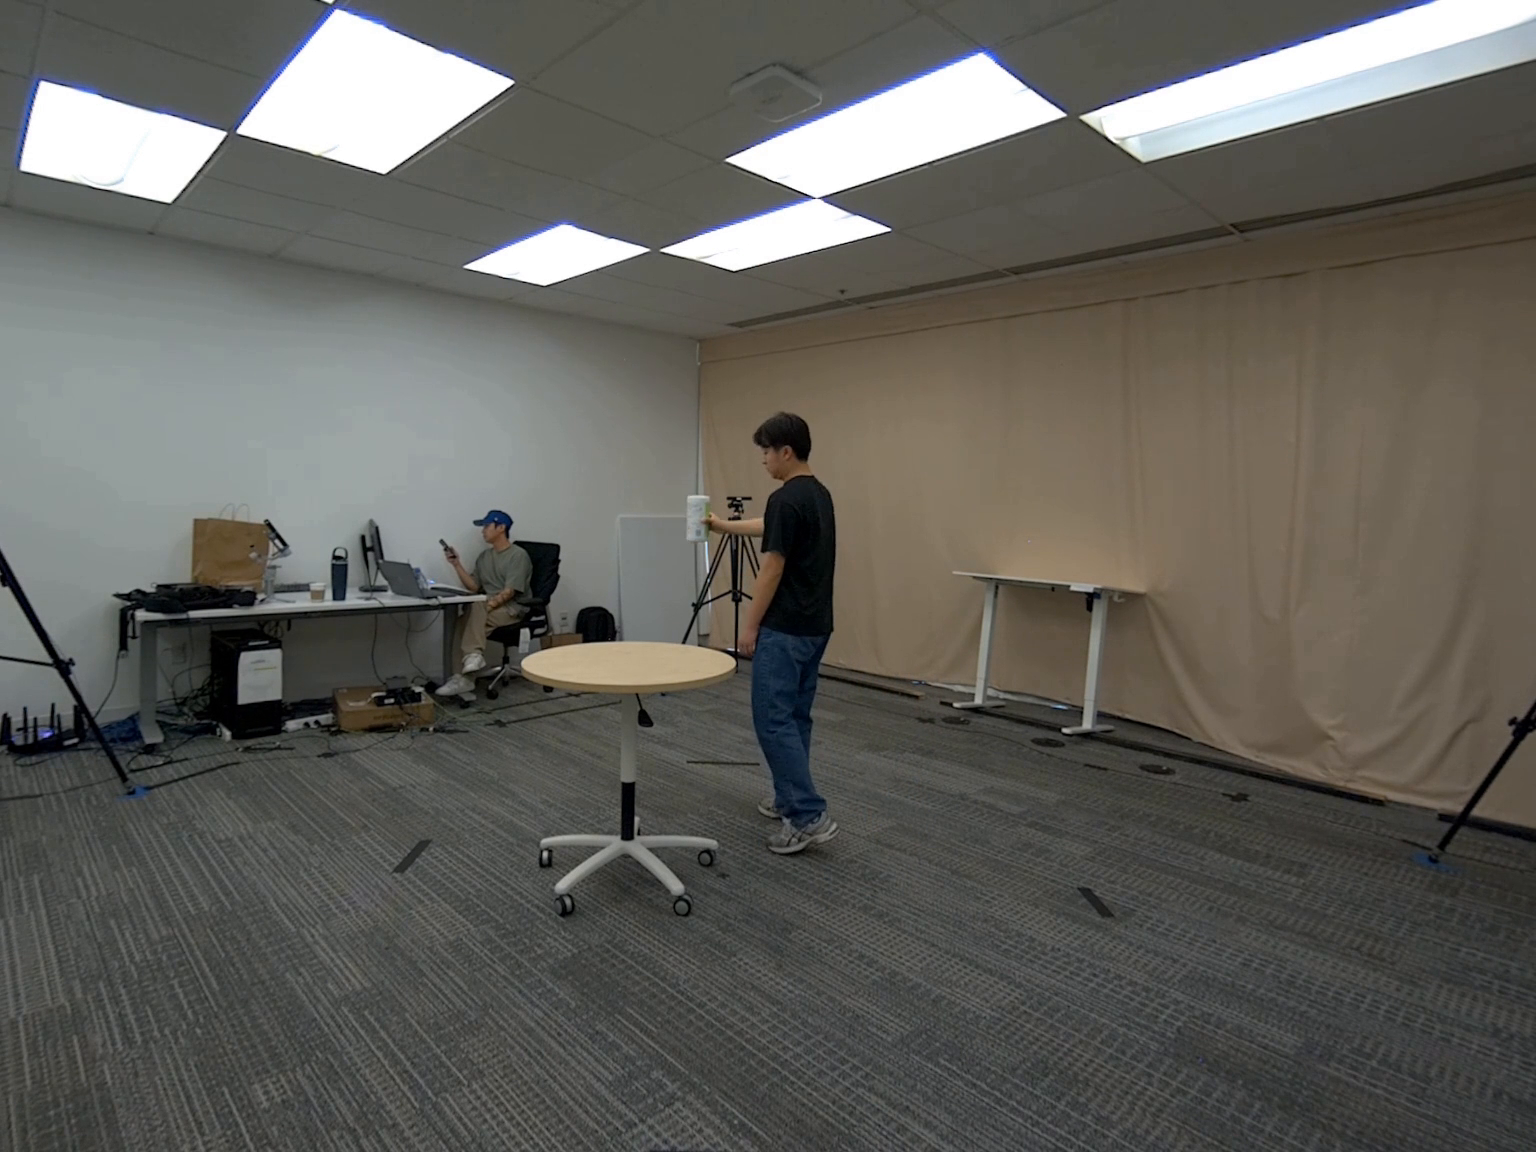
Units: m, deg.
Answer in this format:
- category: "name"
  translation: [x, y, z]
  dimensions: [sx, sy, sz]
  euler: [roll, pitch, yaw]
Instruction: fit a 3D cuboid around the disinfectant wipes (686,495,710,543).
- category: "disinfectant wipes"
  translation: [-0.333, -0.269, 4.003]
  dimensions: [0.118, 0.216, 0.118]
  euler: [1, 8, -2]
